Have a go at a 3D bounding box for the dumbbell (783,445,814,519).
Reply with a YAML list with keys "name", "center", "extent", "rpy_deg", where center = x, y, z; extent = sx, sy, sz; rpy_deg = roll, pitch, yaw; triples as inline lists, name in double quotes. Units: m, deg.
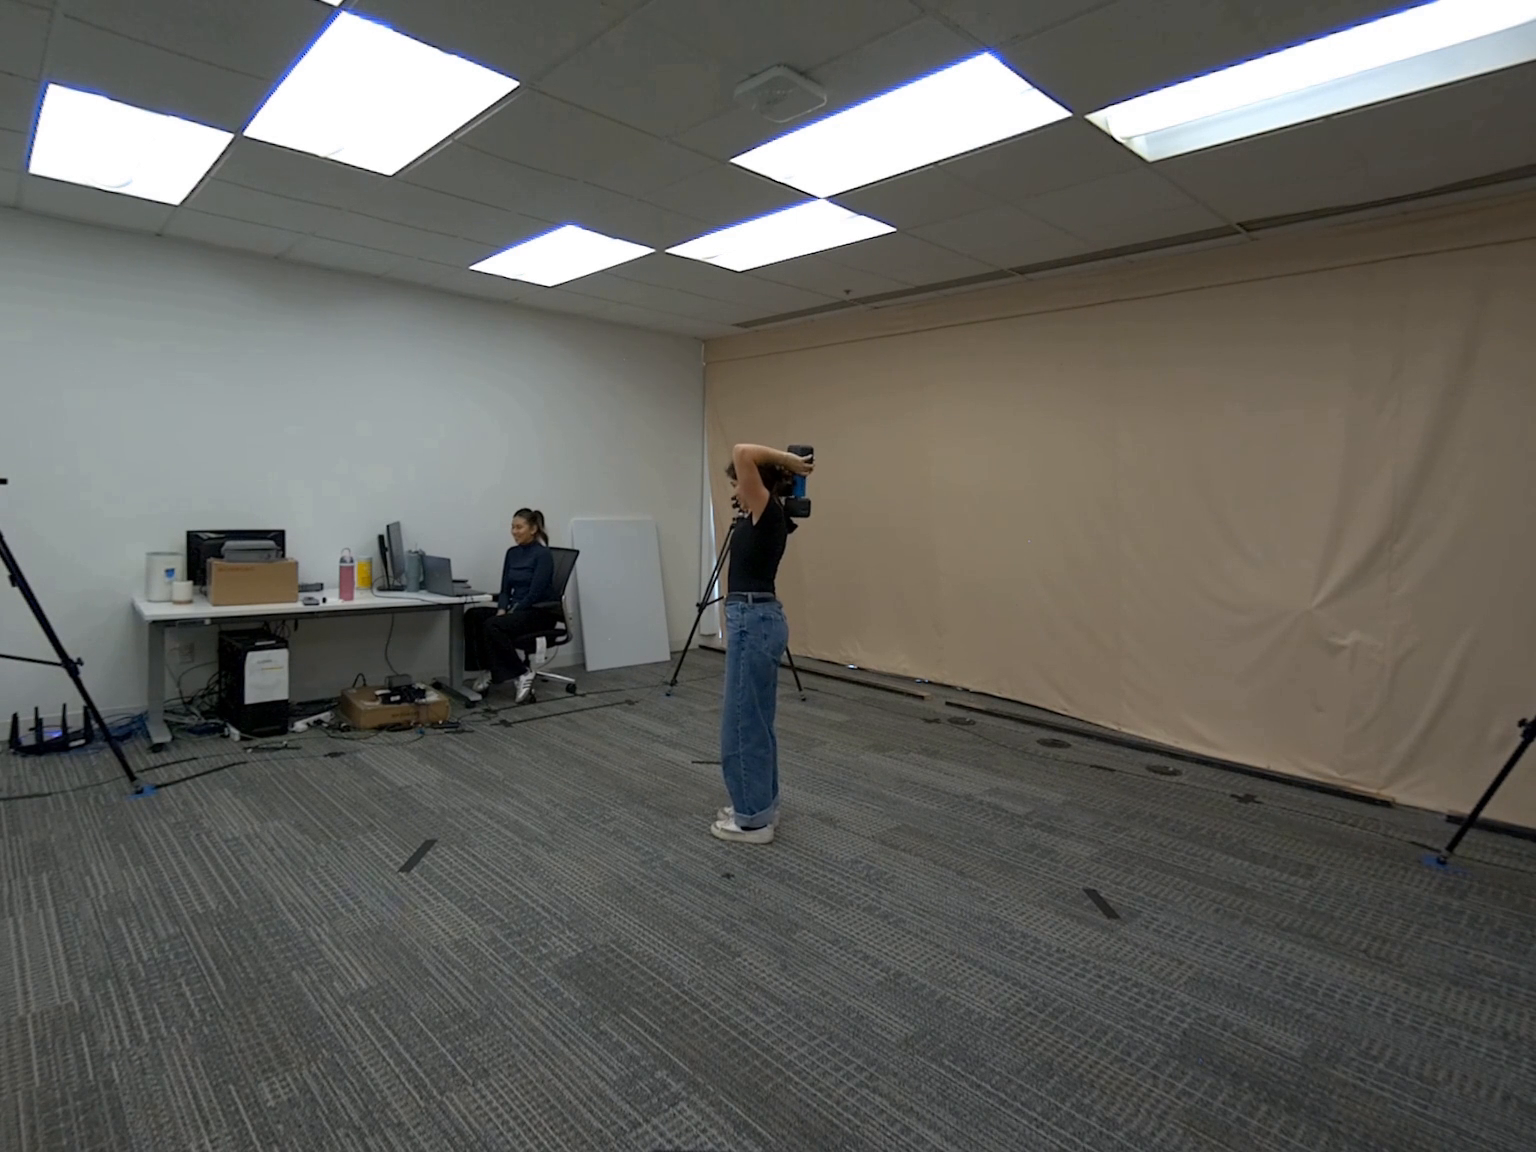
- name: "dumbbell"
  center: [0.114, -0.389, 3.433]
  extent: [0.126, 0.293, 0.106]
  rpy_deg: [5, 3, 34]
